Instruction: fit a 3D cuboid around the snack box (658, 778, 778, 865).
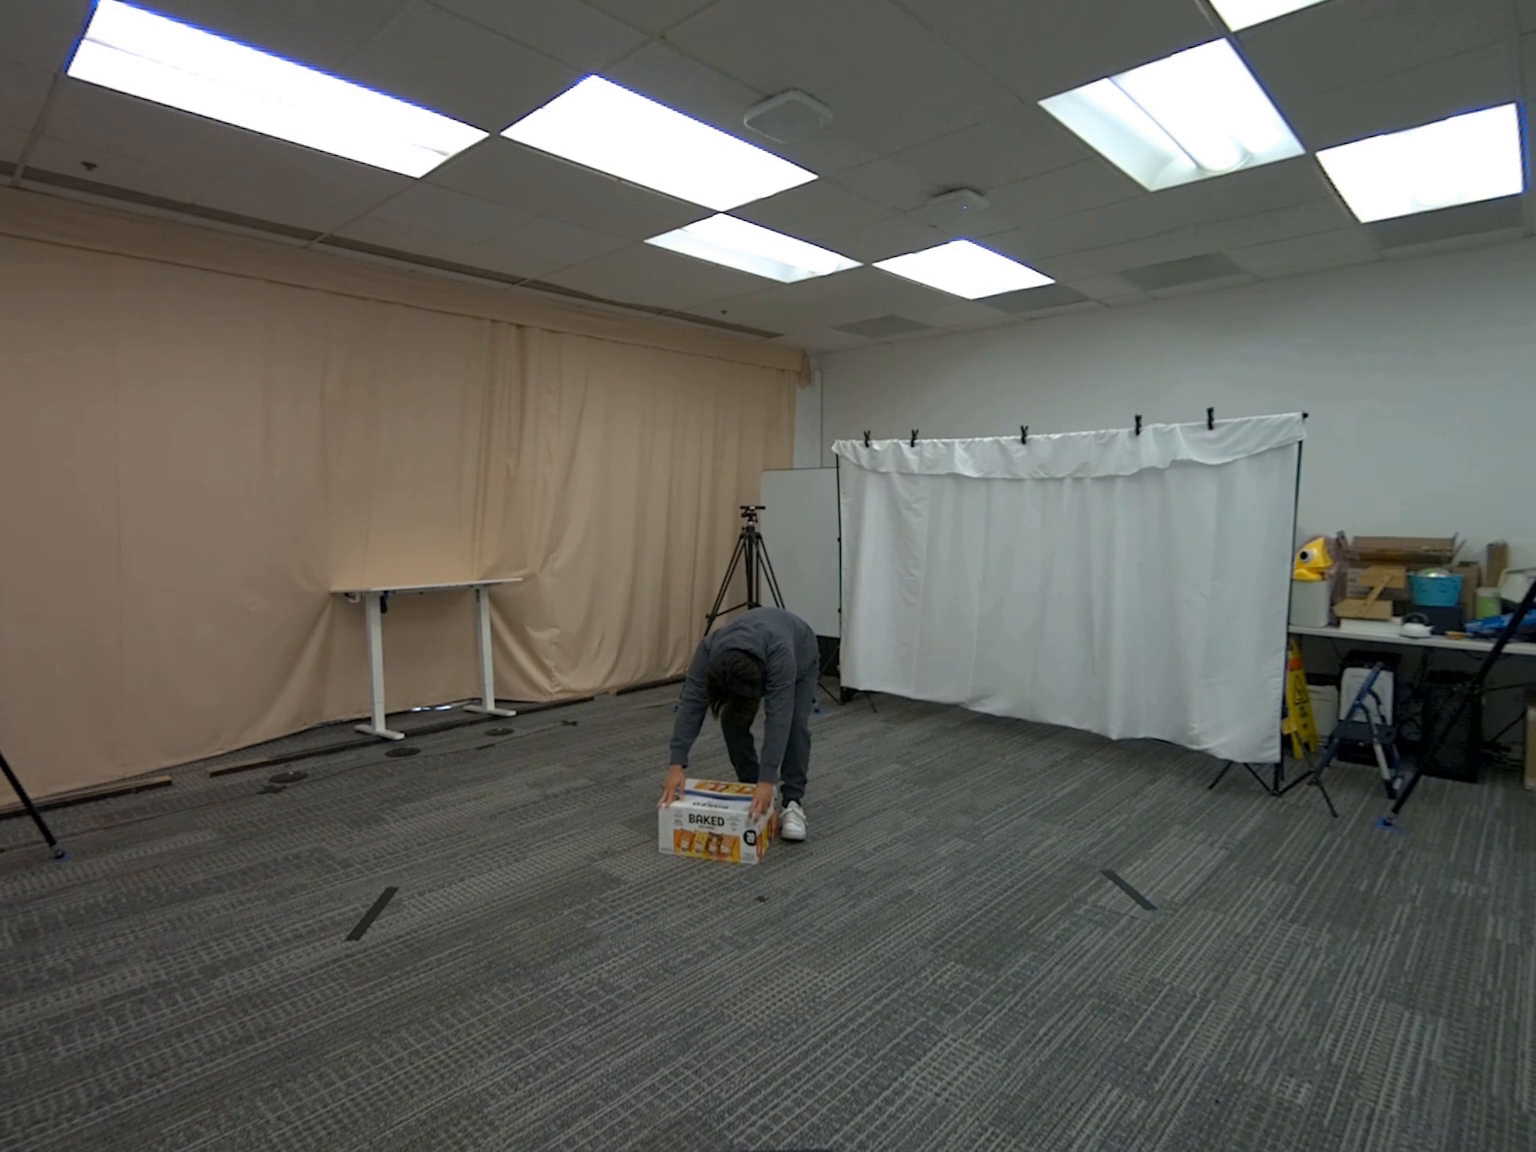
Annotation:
[{"bbox_3d":[-0.198,1.005,3.477,0.412,0.205,0.335,1,4,16],"label":"snack box"}]
